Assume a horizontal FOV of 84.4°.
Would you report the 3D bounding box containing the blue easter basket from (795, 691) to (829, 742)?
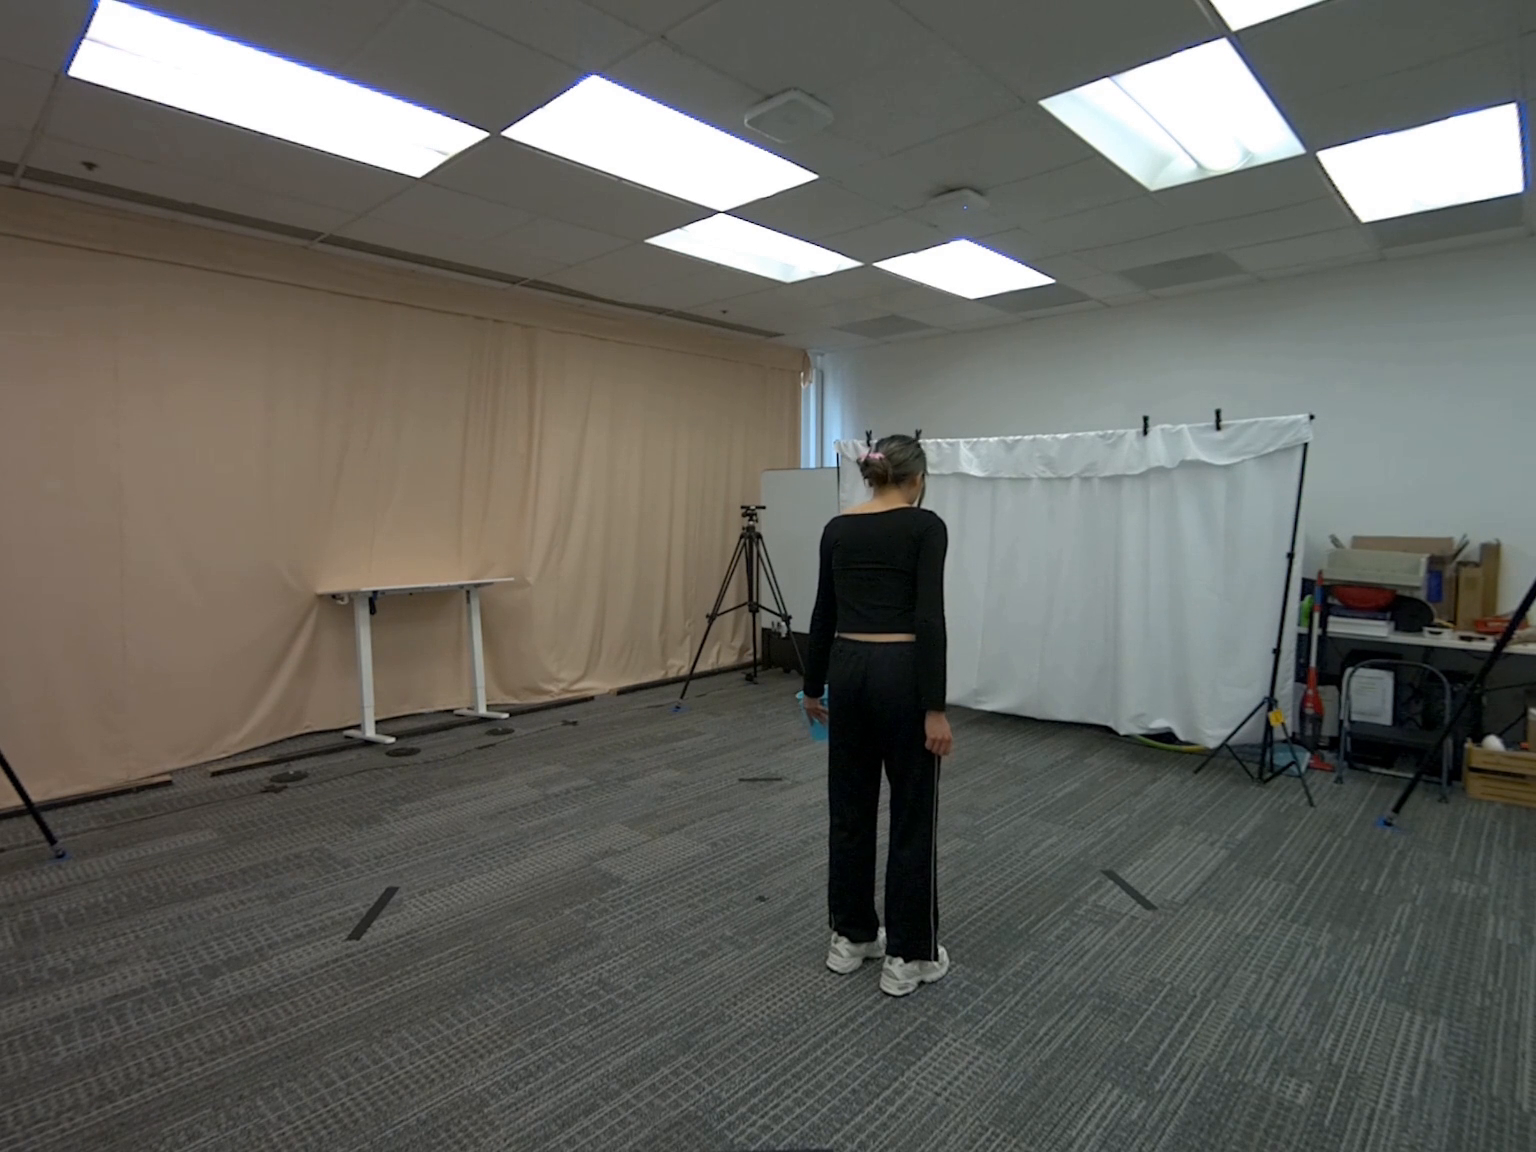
[{"bbox_3d":[0.230,0.476,2.912,0.243,0.156,0.244,-8,2,-2],"label":"blue easter basket"}]
